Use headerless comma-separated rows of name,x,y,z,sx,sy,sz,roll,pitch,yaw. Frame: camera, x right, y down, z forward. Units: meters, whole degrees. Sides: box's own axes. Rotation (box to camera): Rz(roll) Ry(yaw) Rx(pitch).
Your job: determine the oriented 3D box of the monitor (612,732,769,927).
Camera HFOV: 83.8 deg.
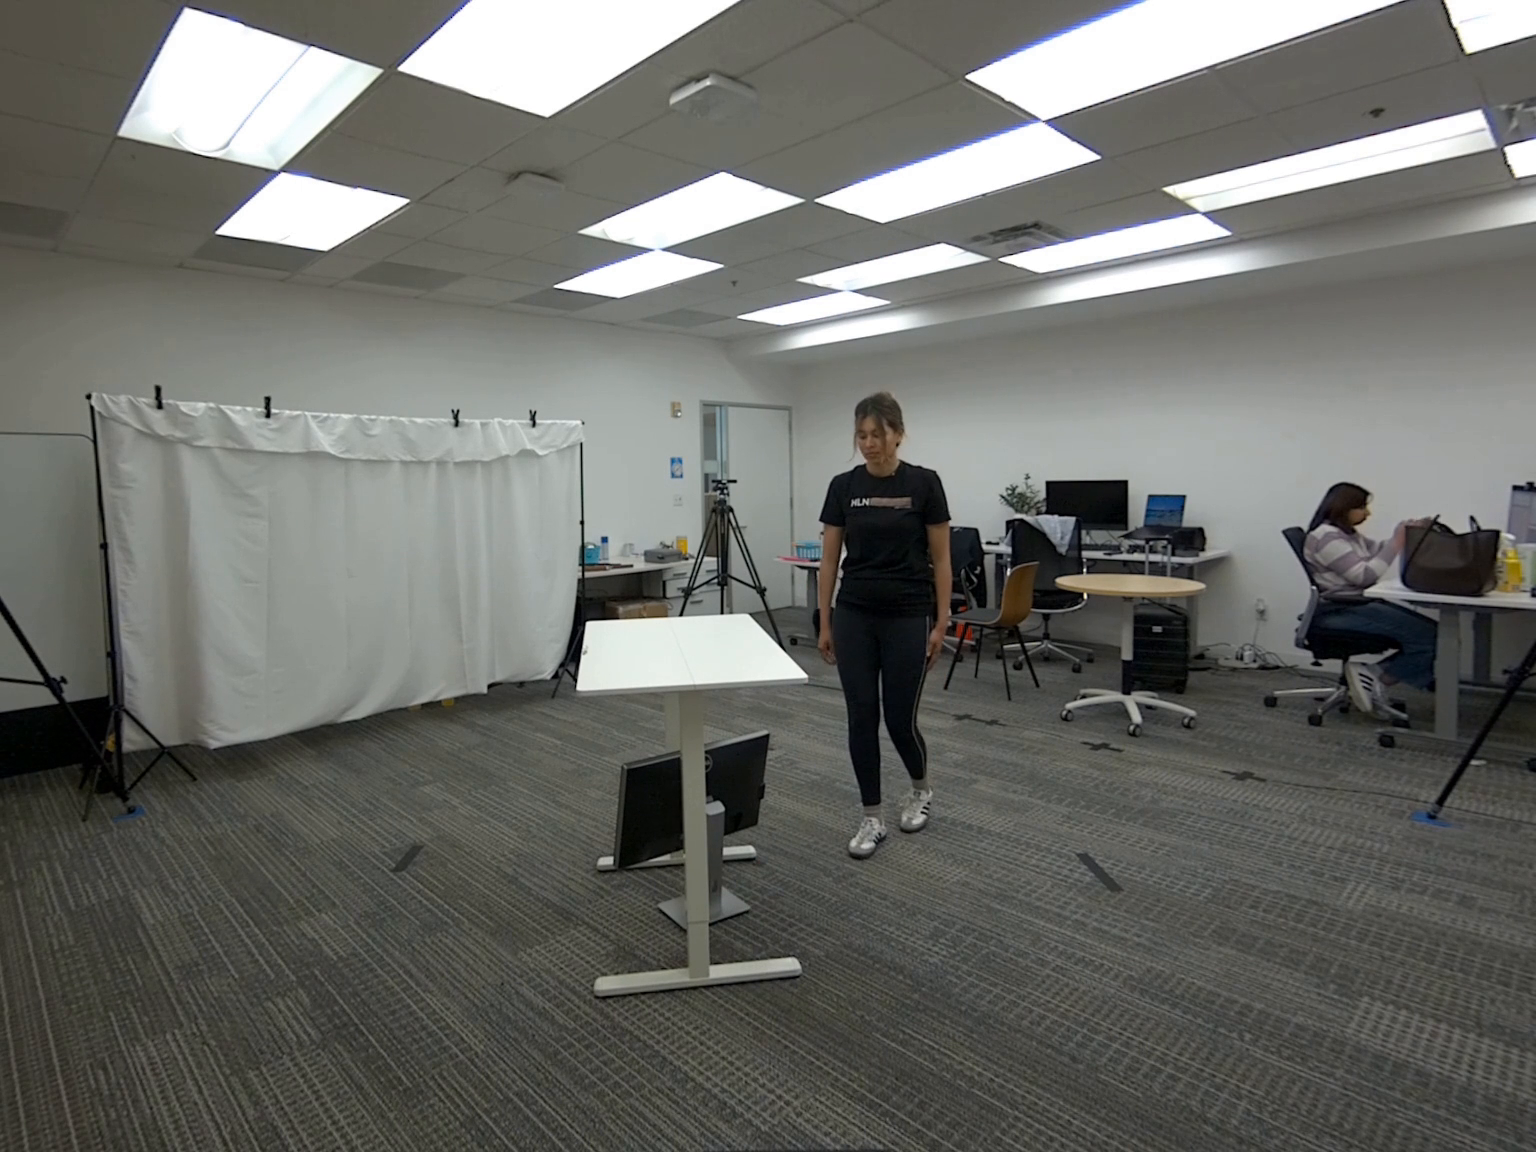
monitor,-0.214,0.824,2.763,0.525,0.521,0.192,-4,4,-37
